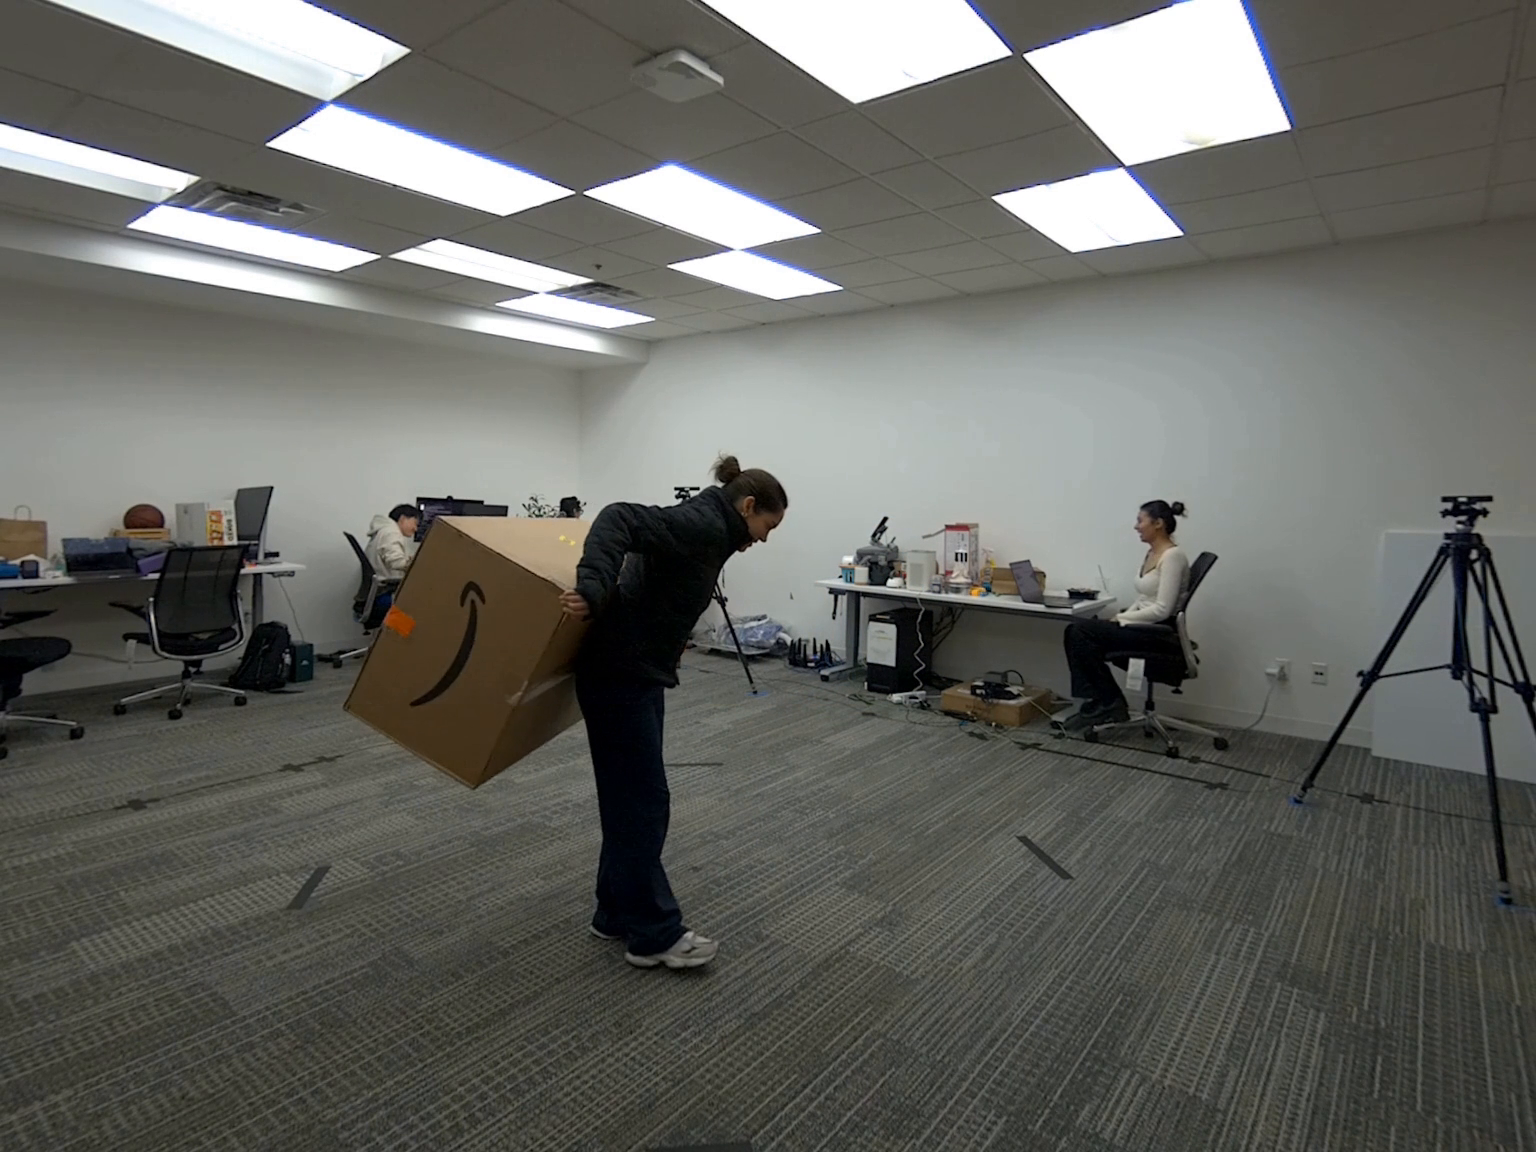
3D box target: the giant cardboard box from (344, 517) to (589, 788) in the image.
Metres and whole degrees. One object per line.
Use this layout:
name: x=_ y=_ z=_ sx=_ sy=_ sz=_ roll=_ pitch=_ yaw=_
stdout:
giant cardboard box: x=-0.720 y=0.164 z=2.685 sx=0.432 sy=0.576 sz=1.016 roll=28 pitch=7 yaw=7
